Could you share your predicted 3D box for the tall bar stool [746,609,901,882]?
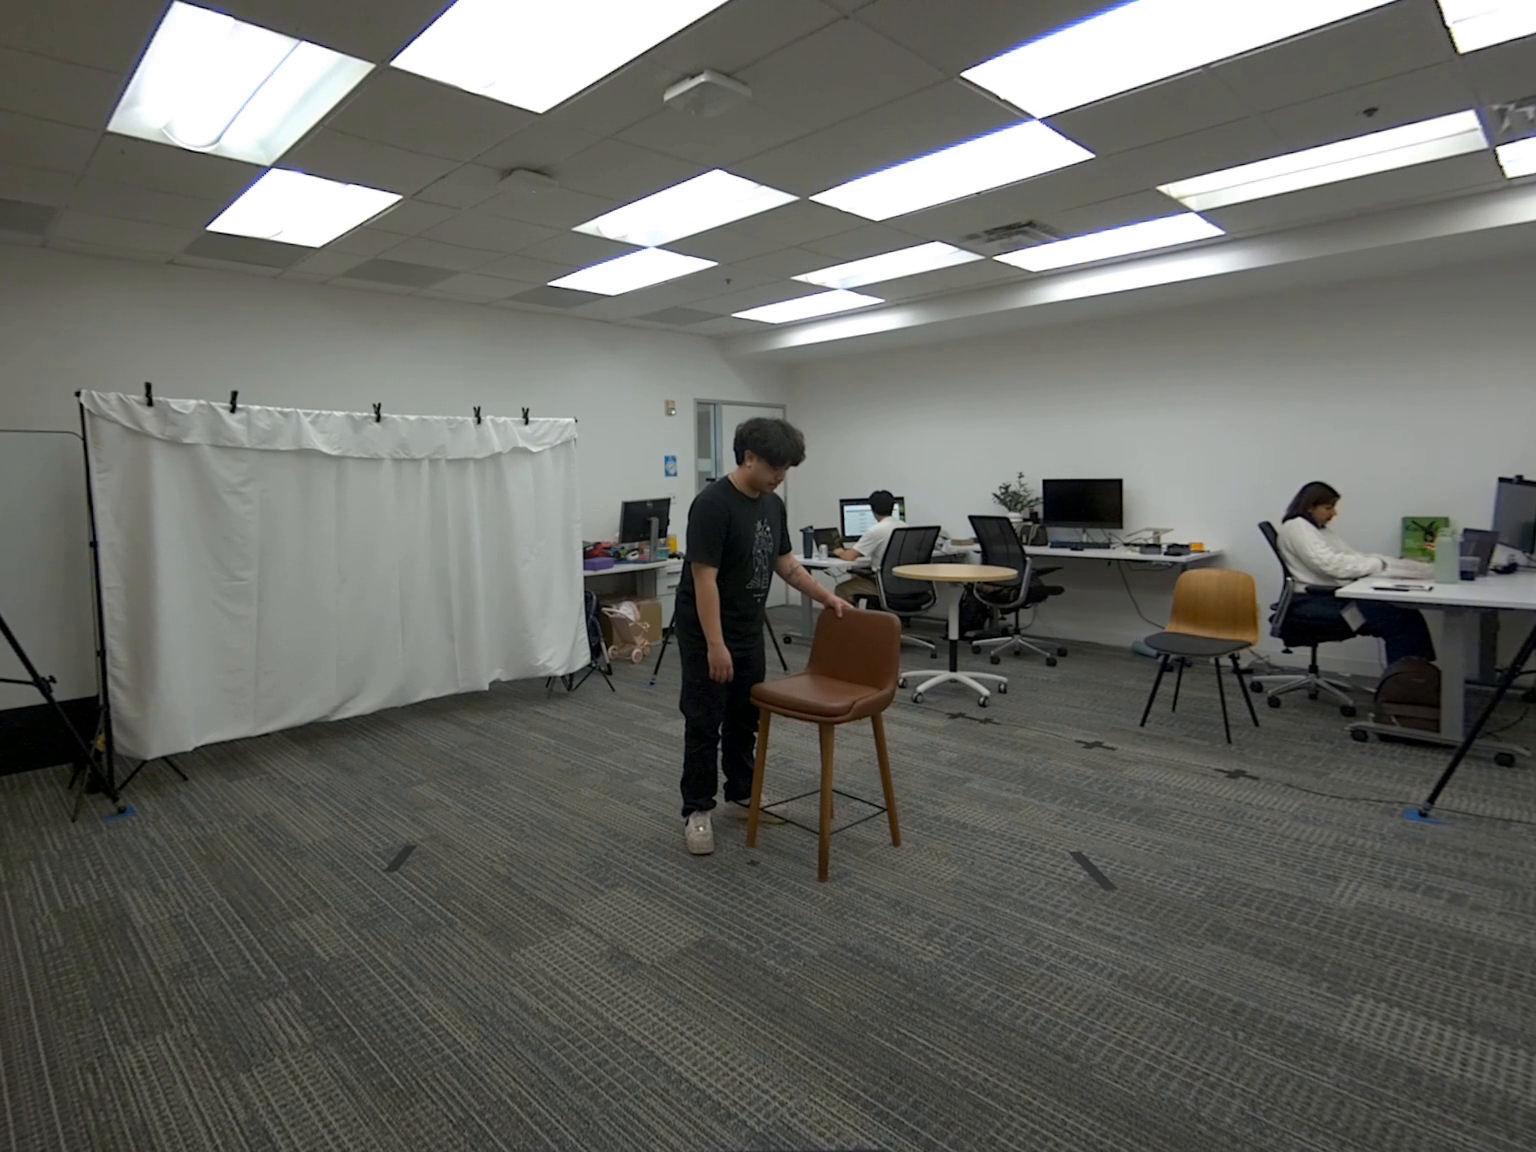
[{"bbox_3d":[0.221,0.587,3.215,0.454,0.888,0.470,0,3,-40],"label":"tall bar stool"}]
